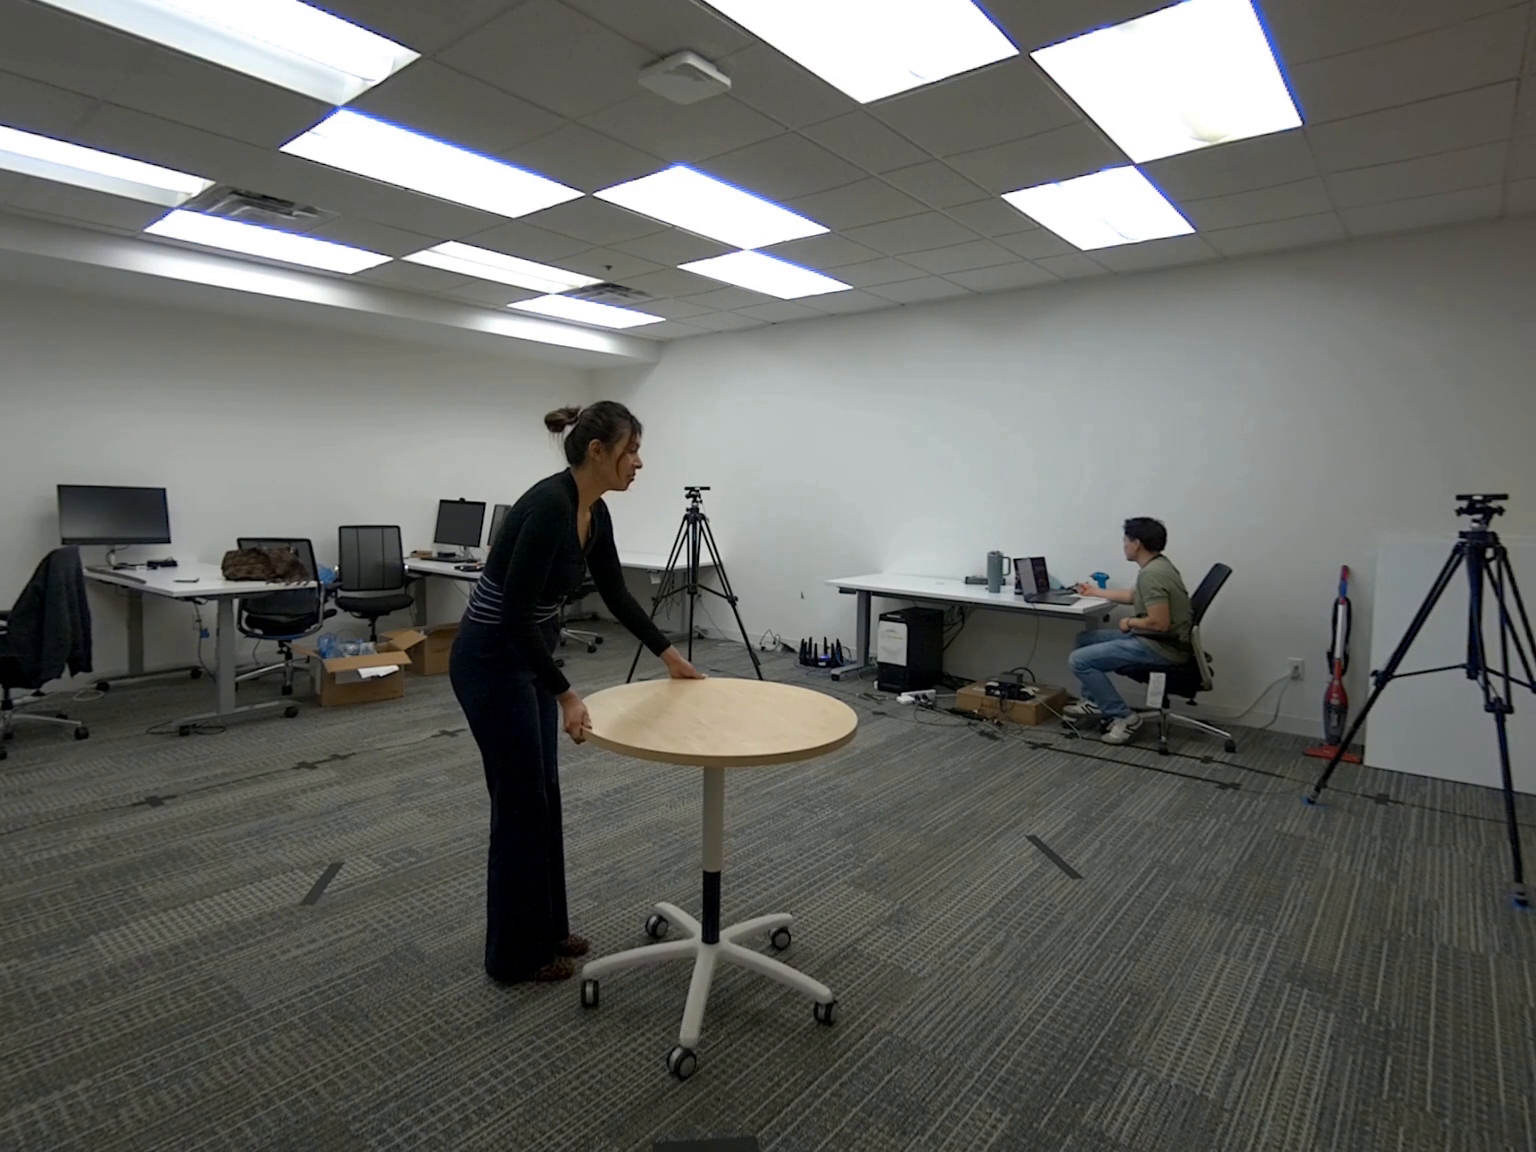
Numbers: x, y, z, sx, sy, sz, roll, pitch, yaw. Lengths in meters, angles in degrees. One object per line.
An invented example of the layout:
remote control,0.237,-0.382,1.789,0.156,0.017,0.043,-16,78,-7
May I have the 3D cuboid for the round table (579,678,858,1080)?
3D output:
round table,-0.161,0.757,2.336,0.763,0.791,0.768,1,5,-2
